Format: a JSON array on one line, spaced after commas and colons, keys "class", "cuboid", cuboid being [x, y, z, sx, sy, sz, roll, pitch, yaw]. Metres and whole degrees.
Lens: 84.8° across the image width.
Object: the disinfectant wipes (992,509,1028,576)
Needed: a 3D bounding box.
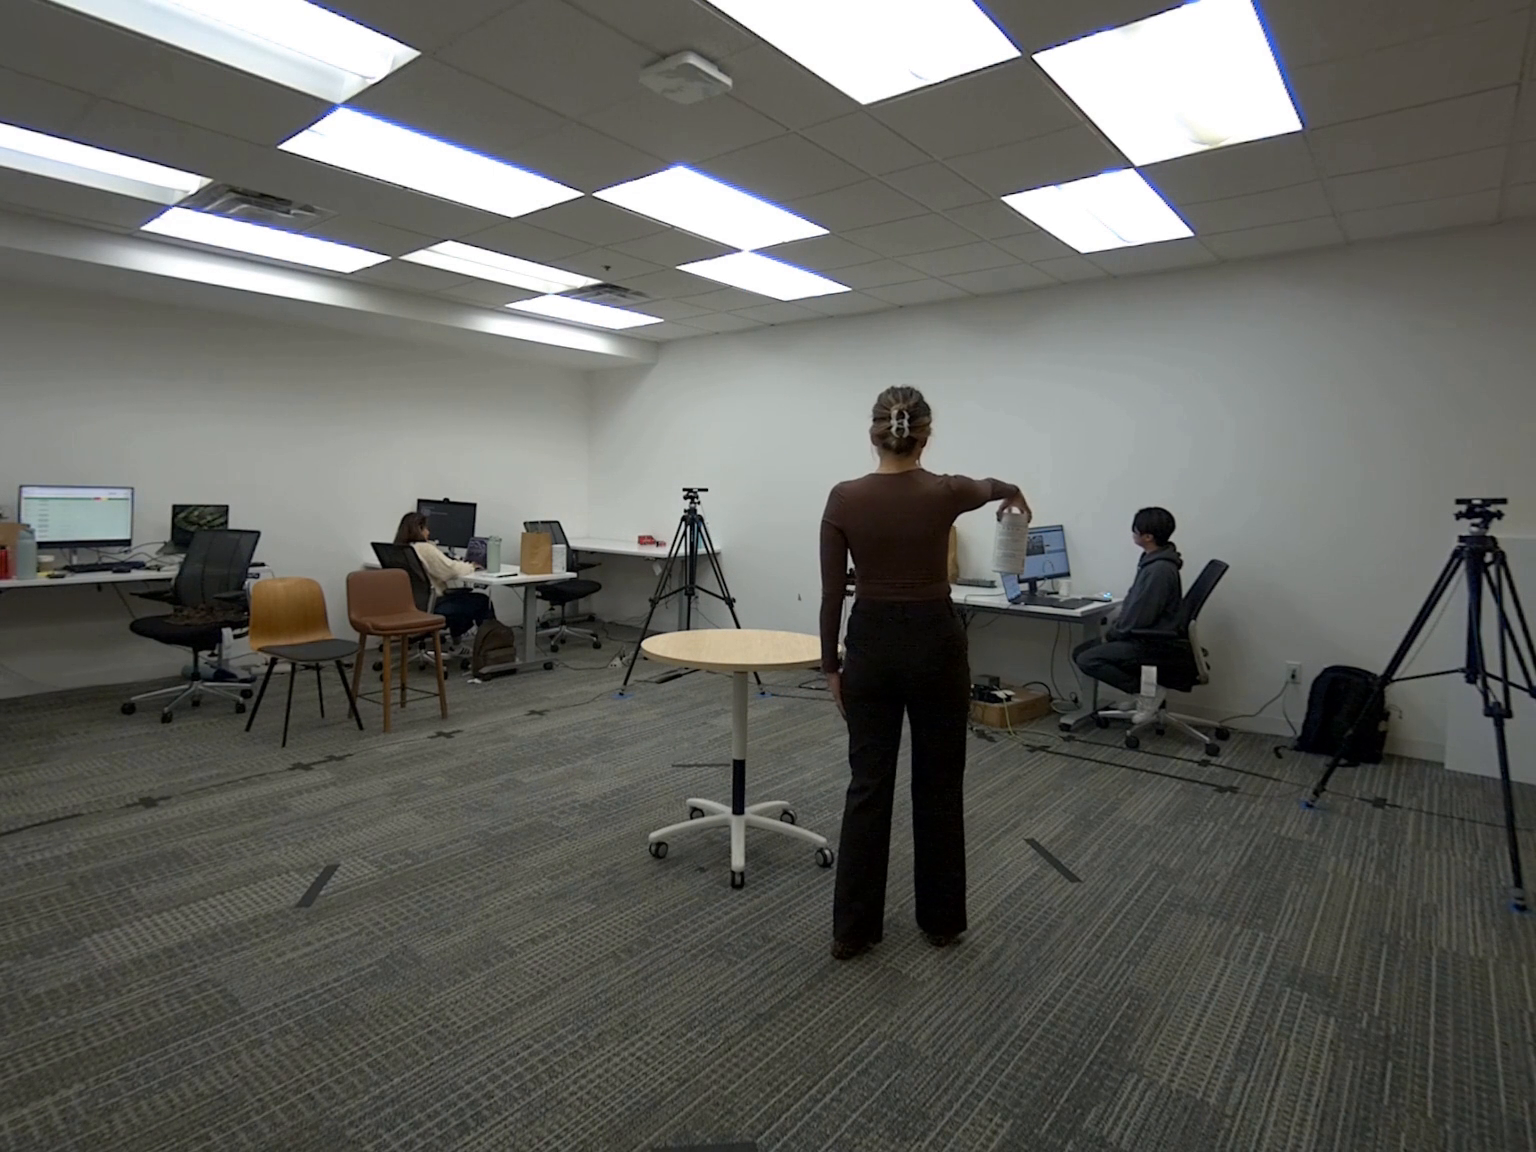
[{"class": "disinfectant wipes", "cuboid": [0.863, -0.122, 3.035, 0.117, 0.216, 0.118, 3, 5, -2]}]
